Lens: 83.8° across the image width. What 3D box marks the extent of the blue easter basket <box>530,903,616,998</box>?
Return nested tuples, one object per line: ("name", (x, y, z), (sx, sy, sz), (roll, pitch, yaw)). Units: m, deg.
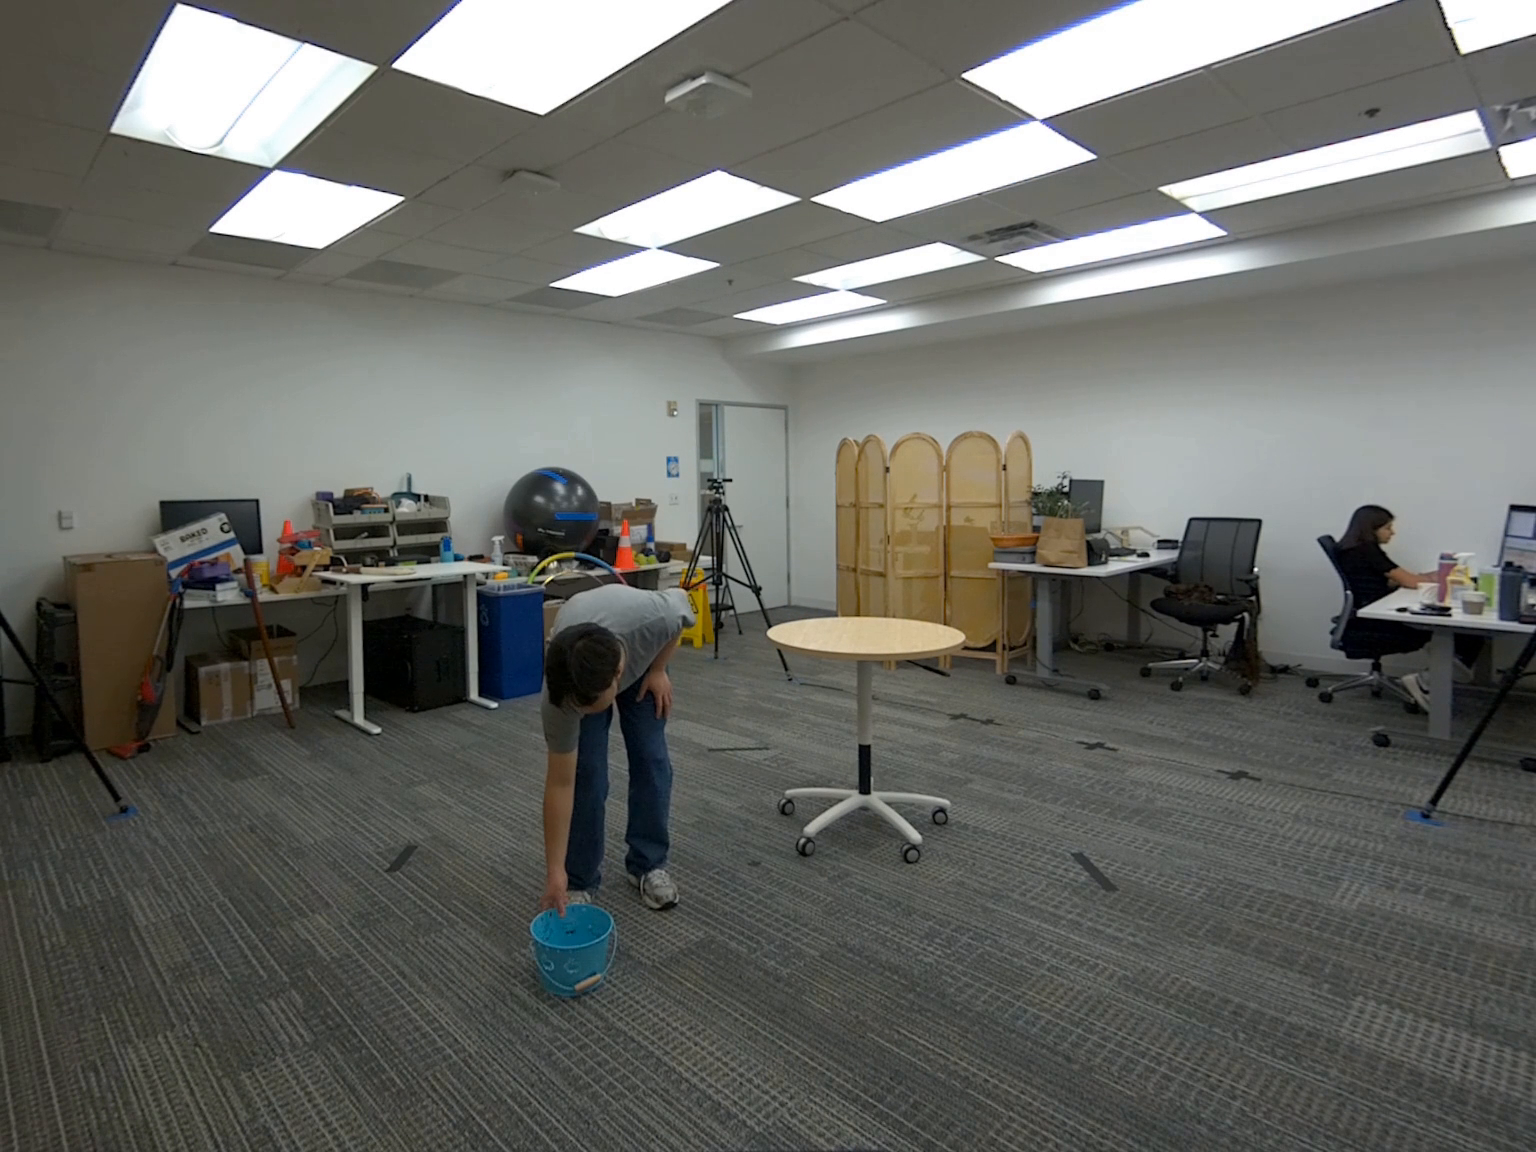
("blue easter basket", (-0.561, 1.060, 2.408), (0.243, 0.155, 0.245), (0, 7, -2))
